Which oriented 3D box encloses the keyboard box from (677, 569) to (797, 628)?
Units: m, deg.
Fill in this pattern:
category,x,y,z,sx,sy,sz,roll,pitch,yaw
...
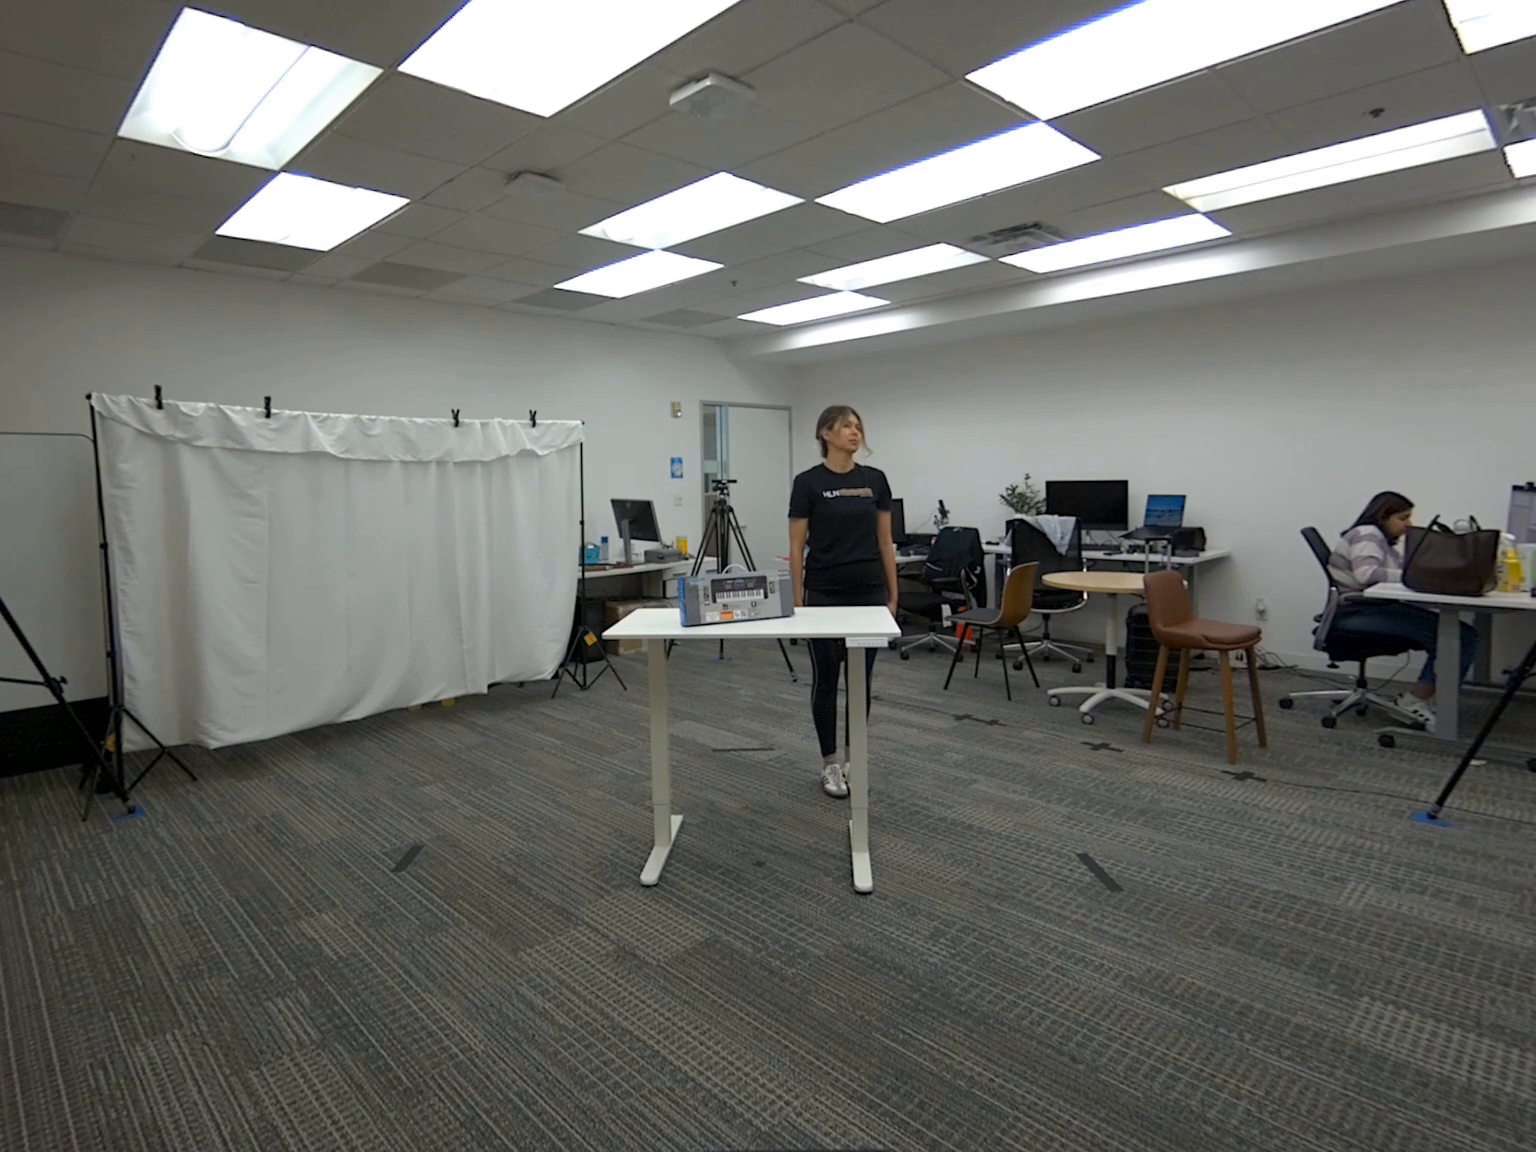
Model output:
category,x,y,z,sx,sy,sz,roll,pitch,yaw
keyboard box,-0.110,0.078,3.115,0.427,0.176,0.060,-4,-3,-26
